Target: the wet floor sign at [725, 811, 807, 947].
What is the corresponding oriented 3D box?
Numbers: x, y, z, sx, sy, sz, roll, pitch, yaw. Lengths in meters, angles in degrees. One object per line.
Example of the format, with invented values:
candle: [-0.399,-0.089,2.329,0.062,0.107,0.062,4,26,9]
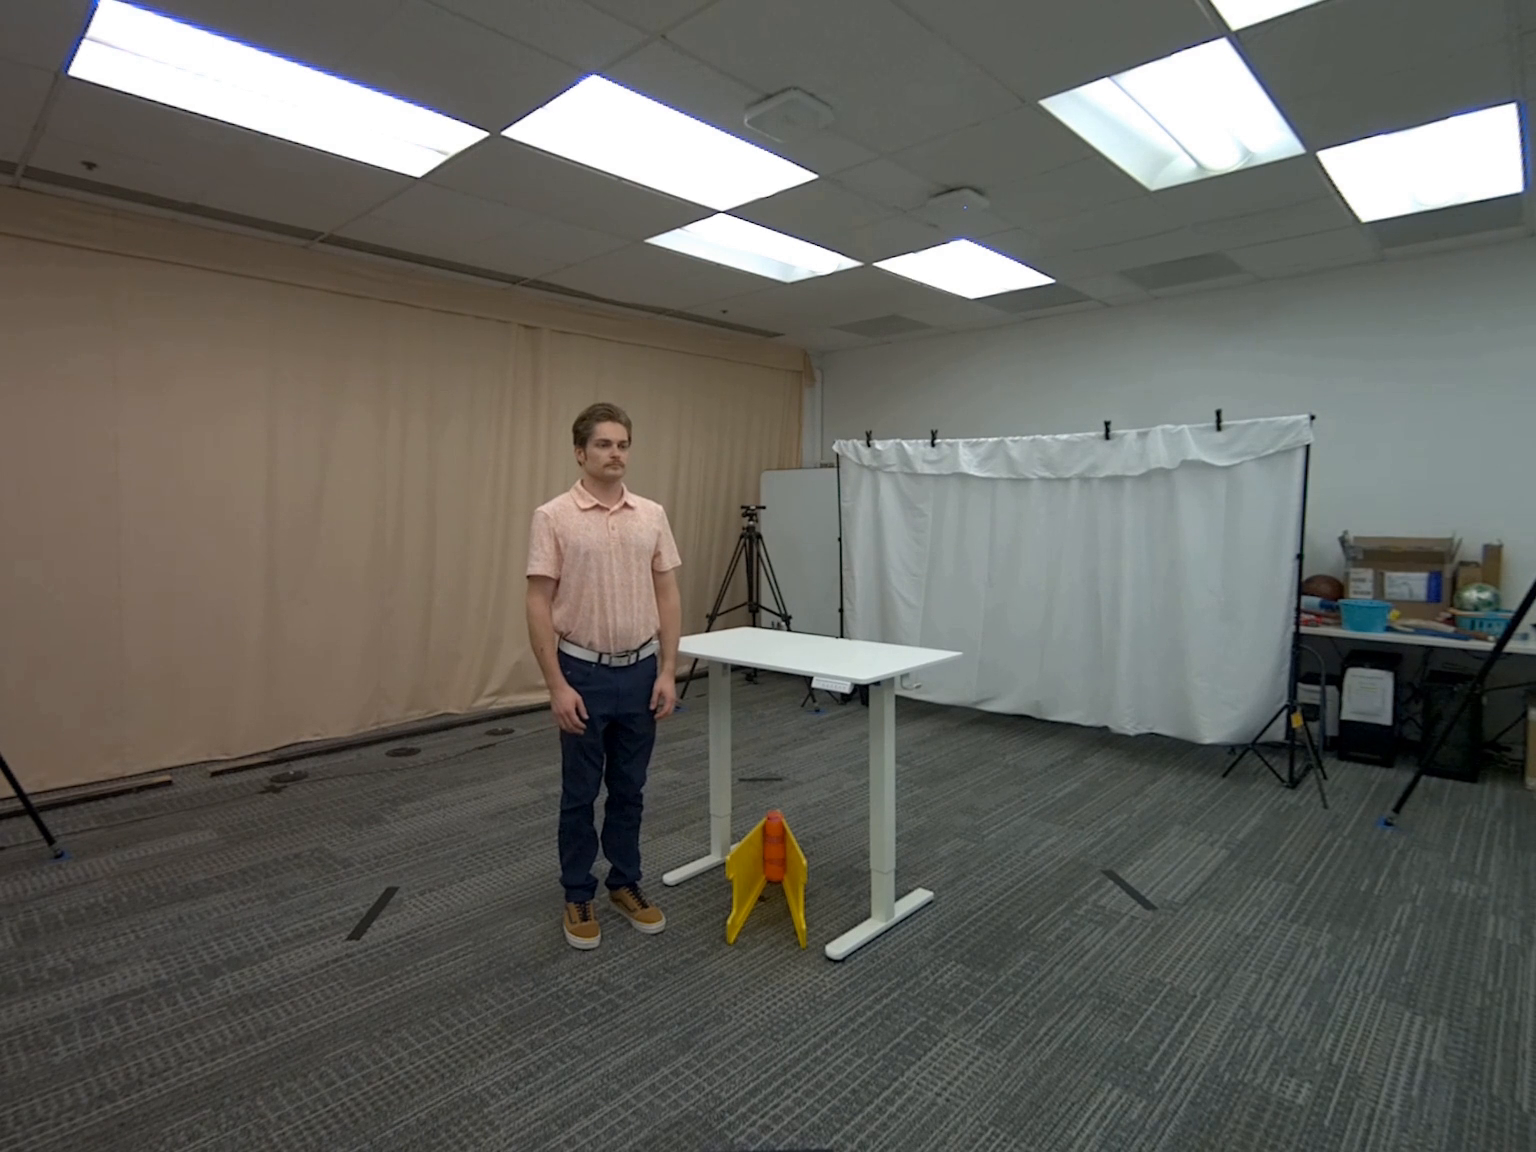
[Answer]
wet floor sign: [0.015,1.017,2.972,0.292,0.282,0.641,0,1,5]
